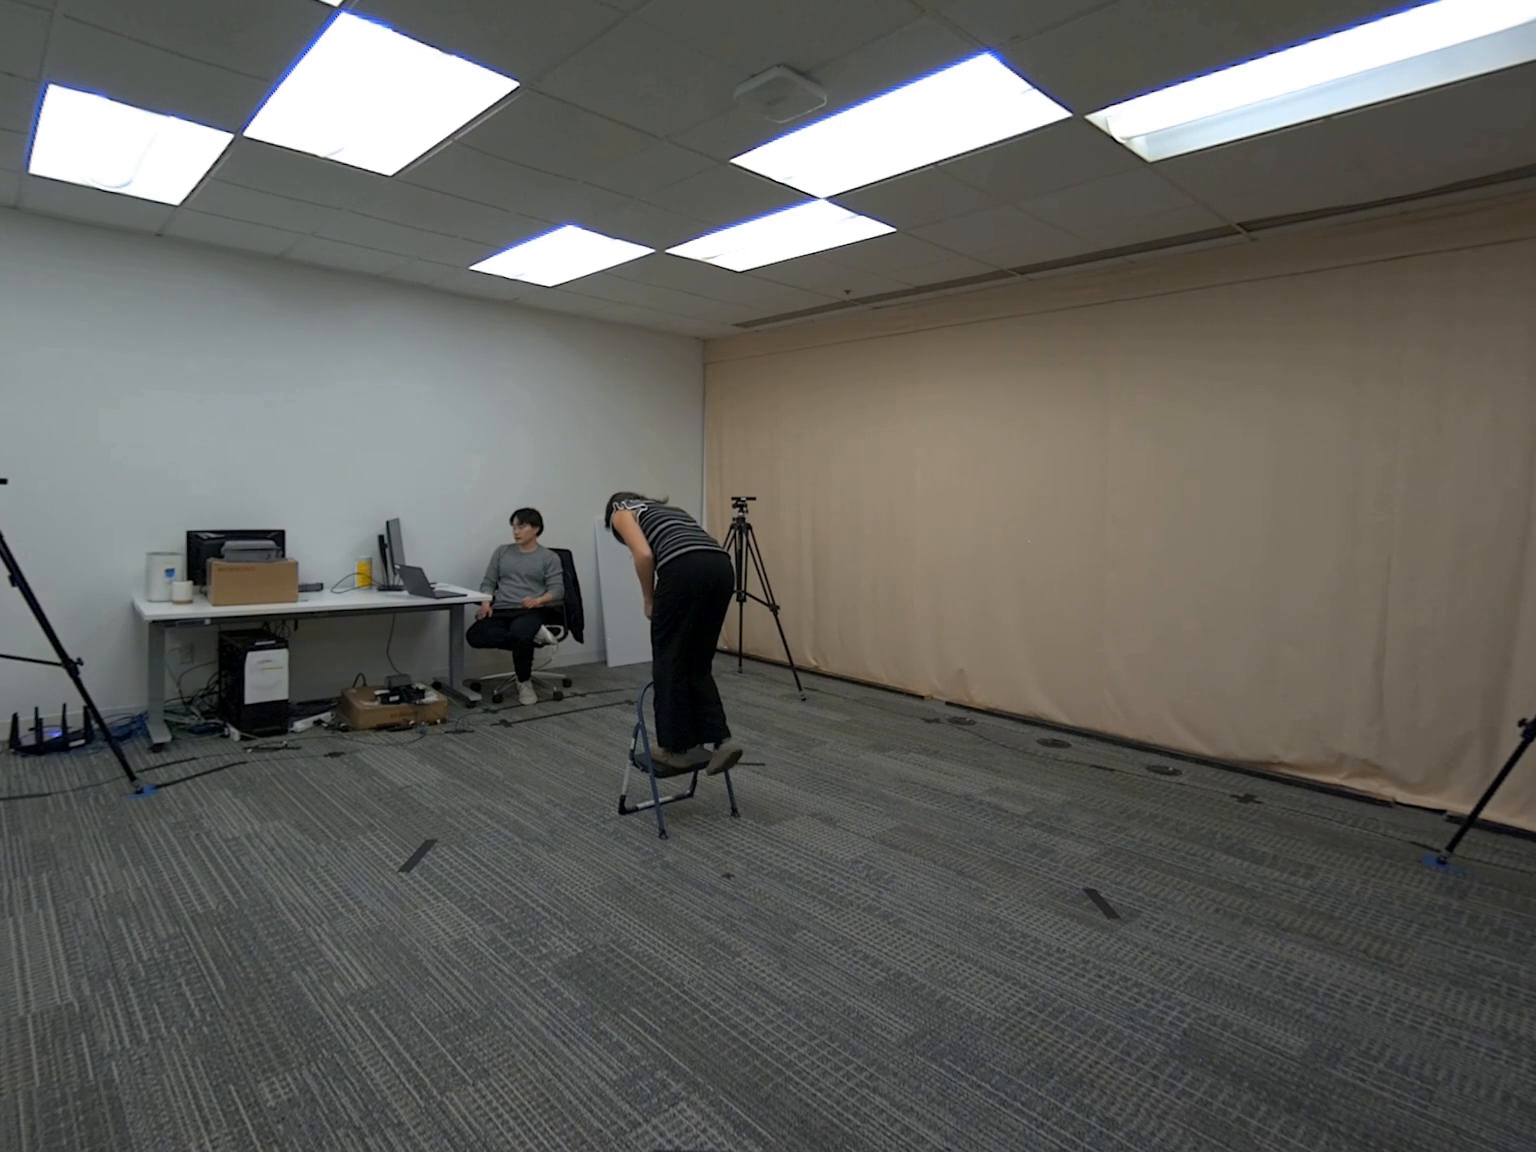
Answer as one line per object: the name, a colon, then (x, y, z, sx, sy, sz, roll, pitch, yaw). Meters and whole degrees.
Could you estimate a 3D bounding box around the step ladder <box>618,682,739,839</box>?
step ladder: (-0.391, 0.751, 3.680, 0.420, 0.605, 0.358, -1, 4, -43)
